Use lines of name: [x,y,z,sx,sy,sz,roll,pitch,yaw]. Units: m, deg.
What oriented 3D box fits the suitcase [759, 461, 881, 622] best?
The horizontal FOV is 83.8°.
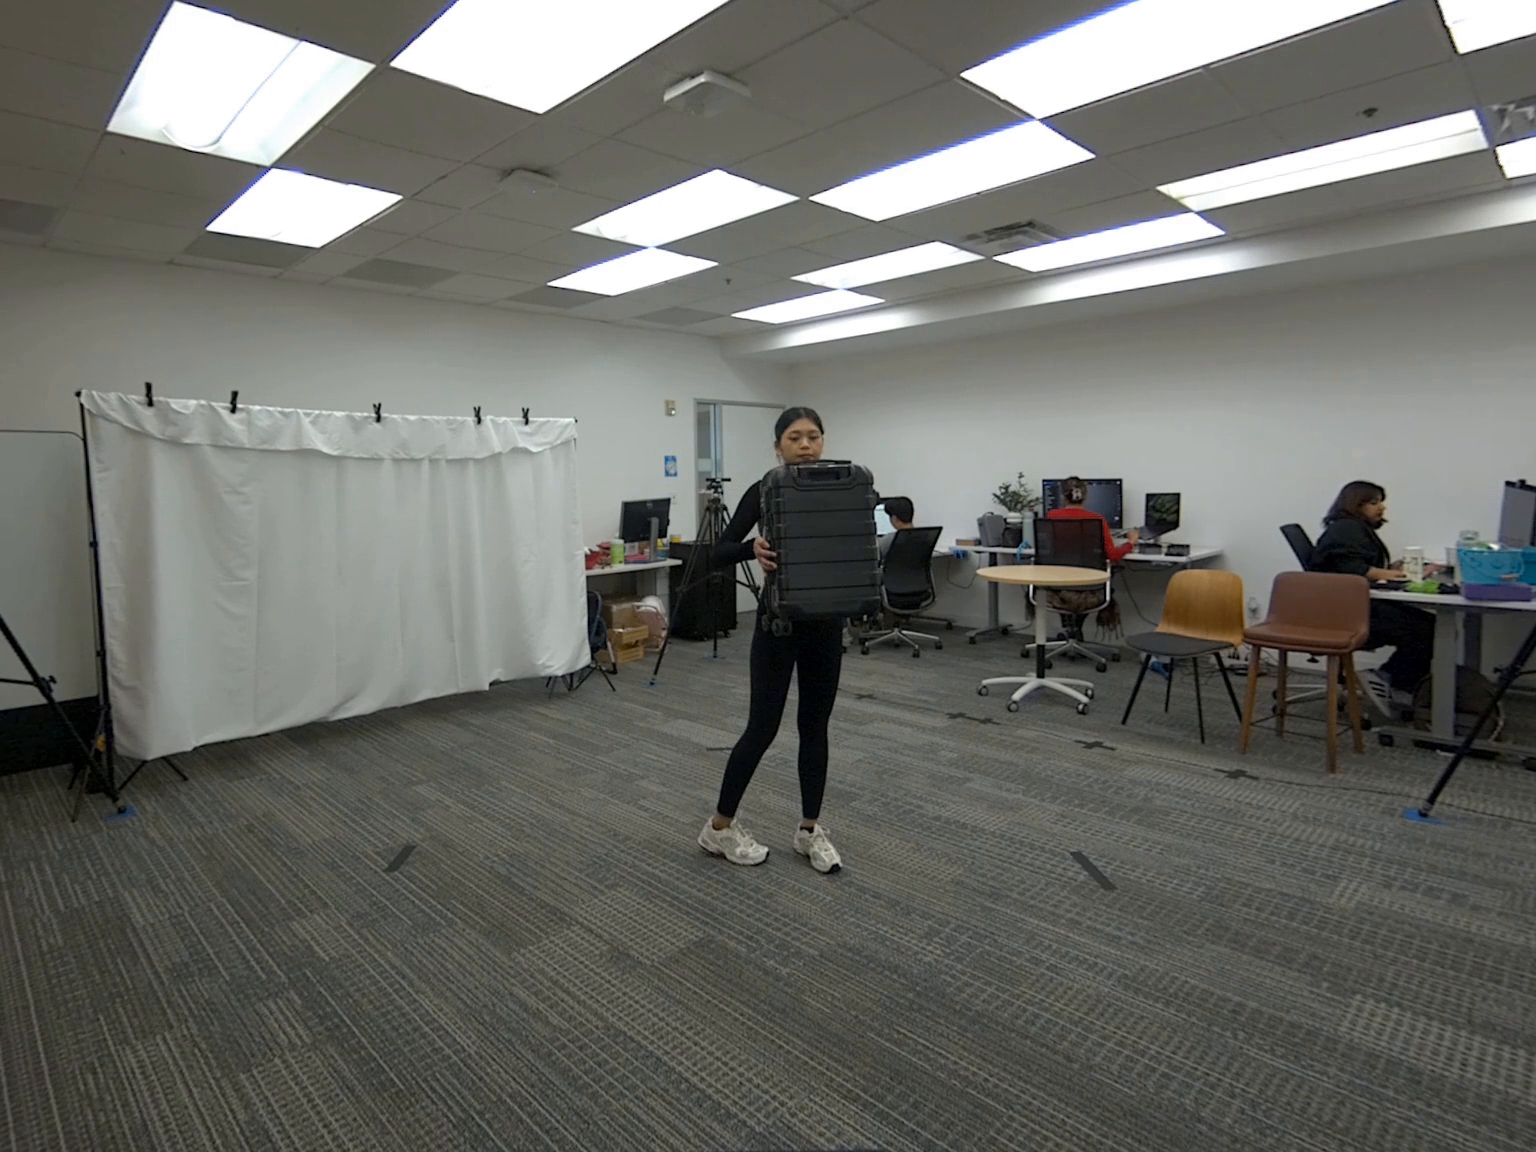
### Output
suitcase: [0.162,-0.099,2.800,0.373,0.550,0.249,-3,-1,-7]
